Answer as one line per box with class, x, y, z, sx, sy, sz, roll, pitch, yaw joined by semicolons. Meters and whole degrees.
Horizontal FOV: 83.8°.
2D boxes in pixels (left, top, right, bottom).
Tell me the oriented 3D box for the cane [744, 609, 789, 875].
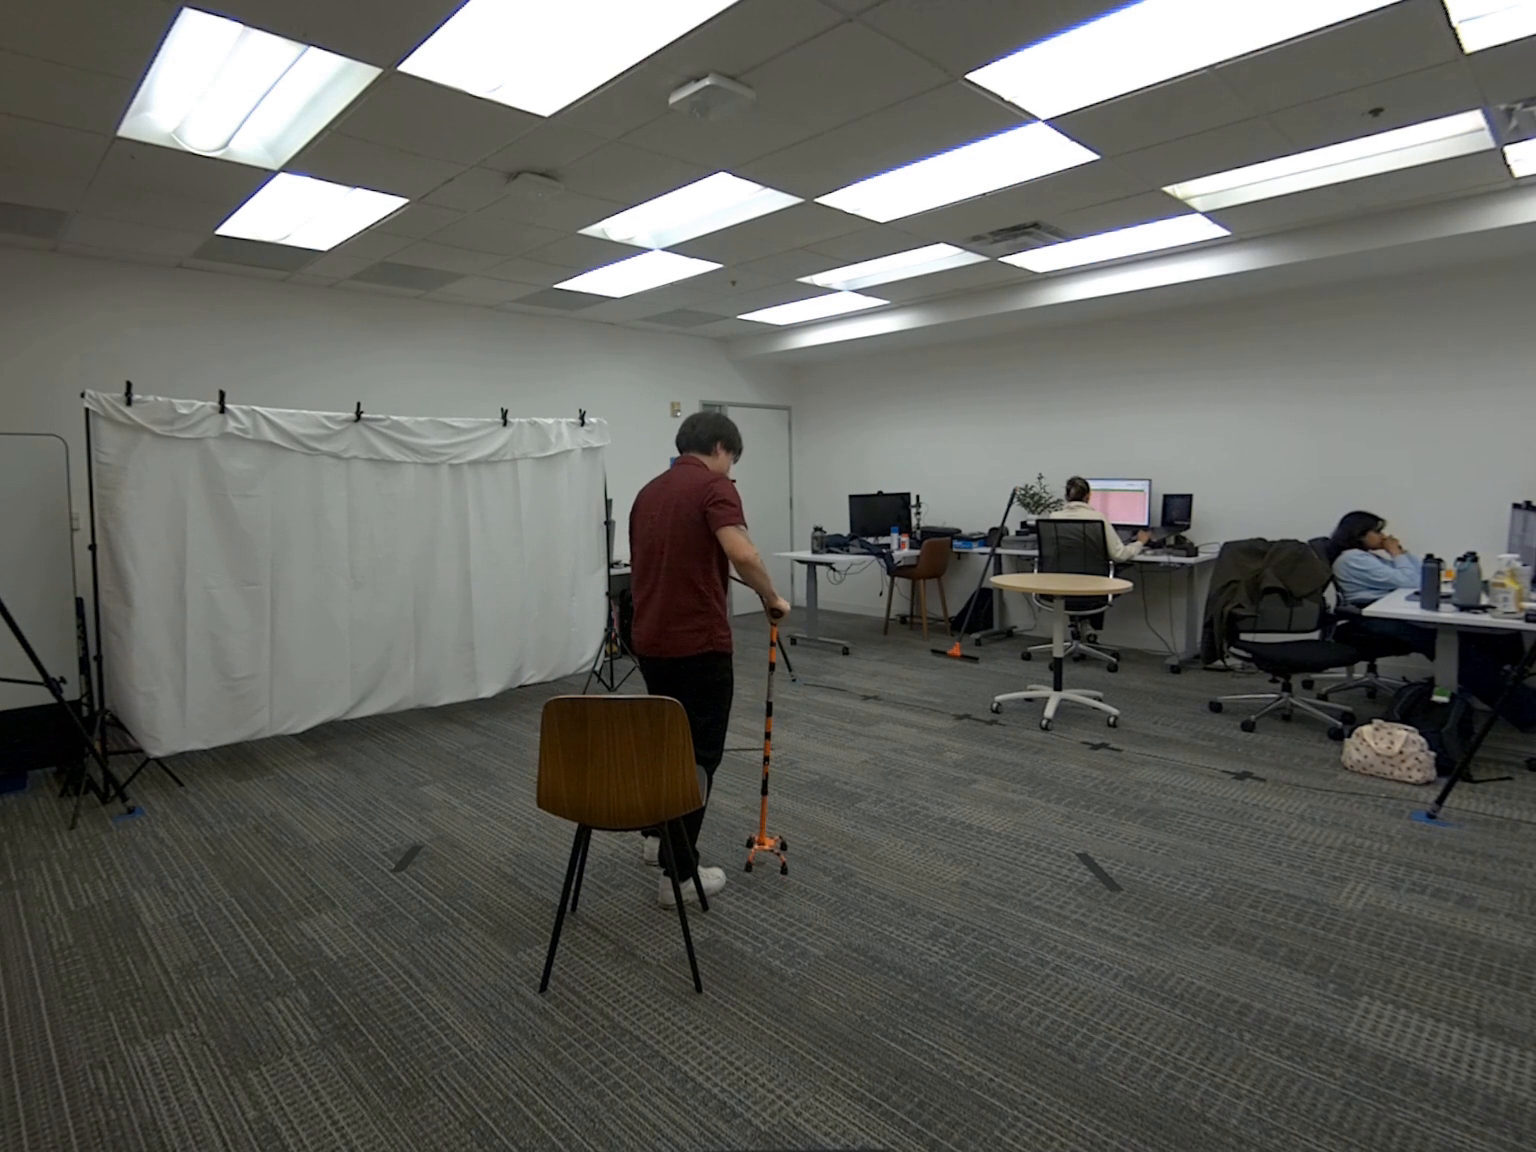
cane;0.023;0.569;2.961;0.152;0.904;0.206;4;4;2
